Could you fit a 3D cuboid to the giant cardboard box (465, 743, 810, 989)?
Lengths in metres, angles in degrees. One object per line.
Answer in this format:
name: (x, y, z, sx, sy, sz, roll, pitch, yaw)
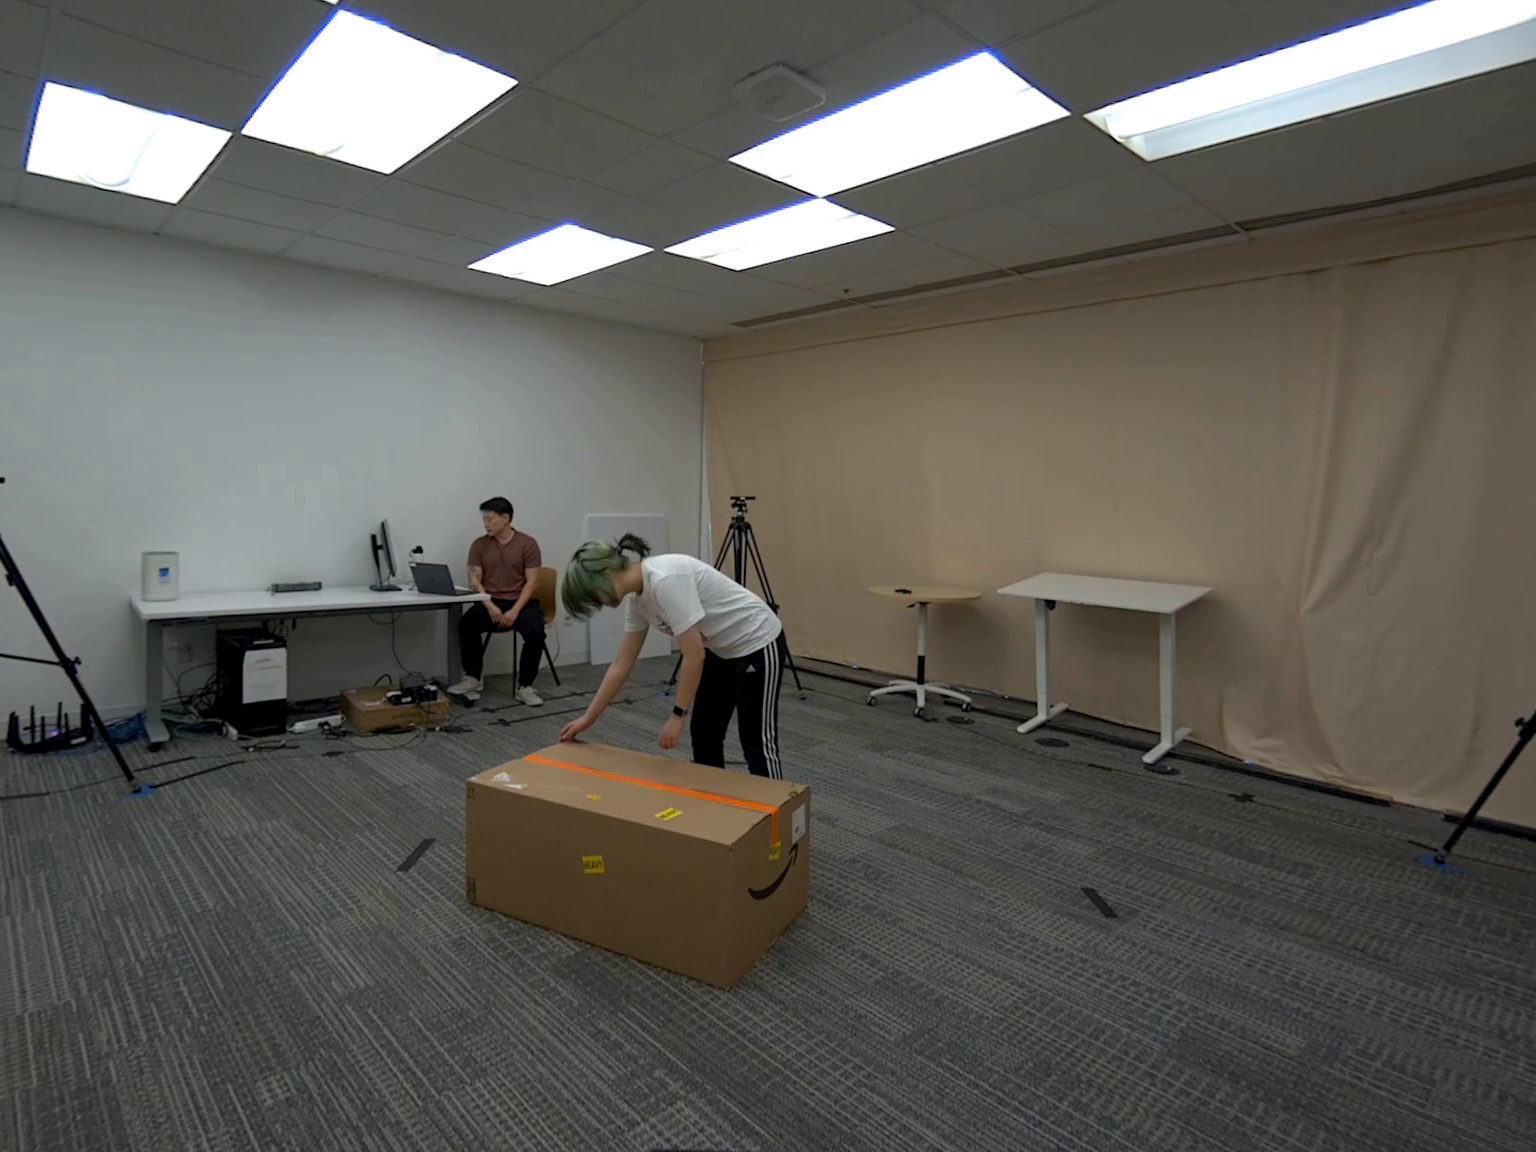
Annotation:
giant cardboard box: (-0.444, 0.905, 2.845, 1.047, 0.425, 0.567, 4, 5, 27)
